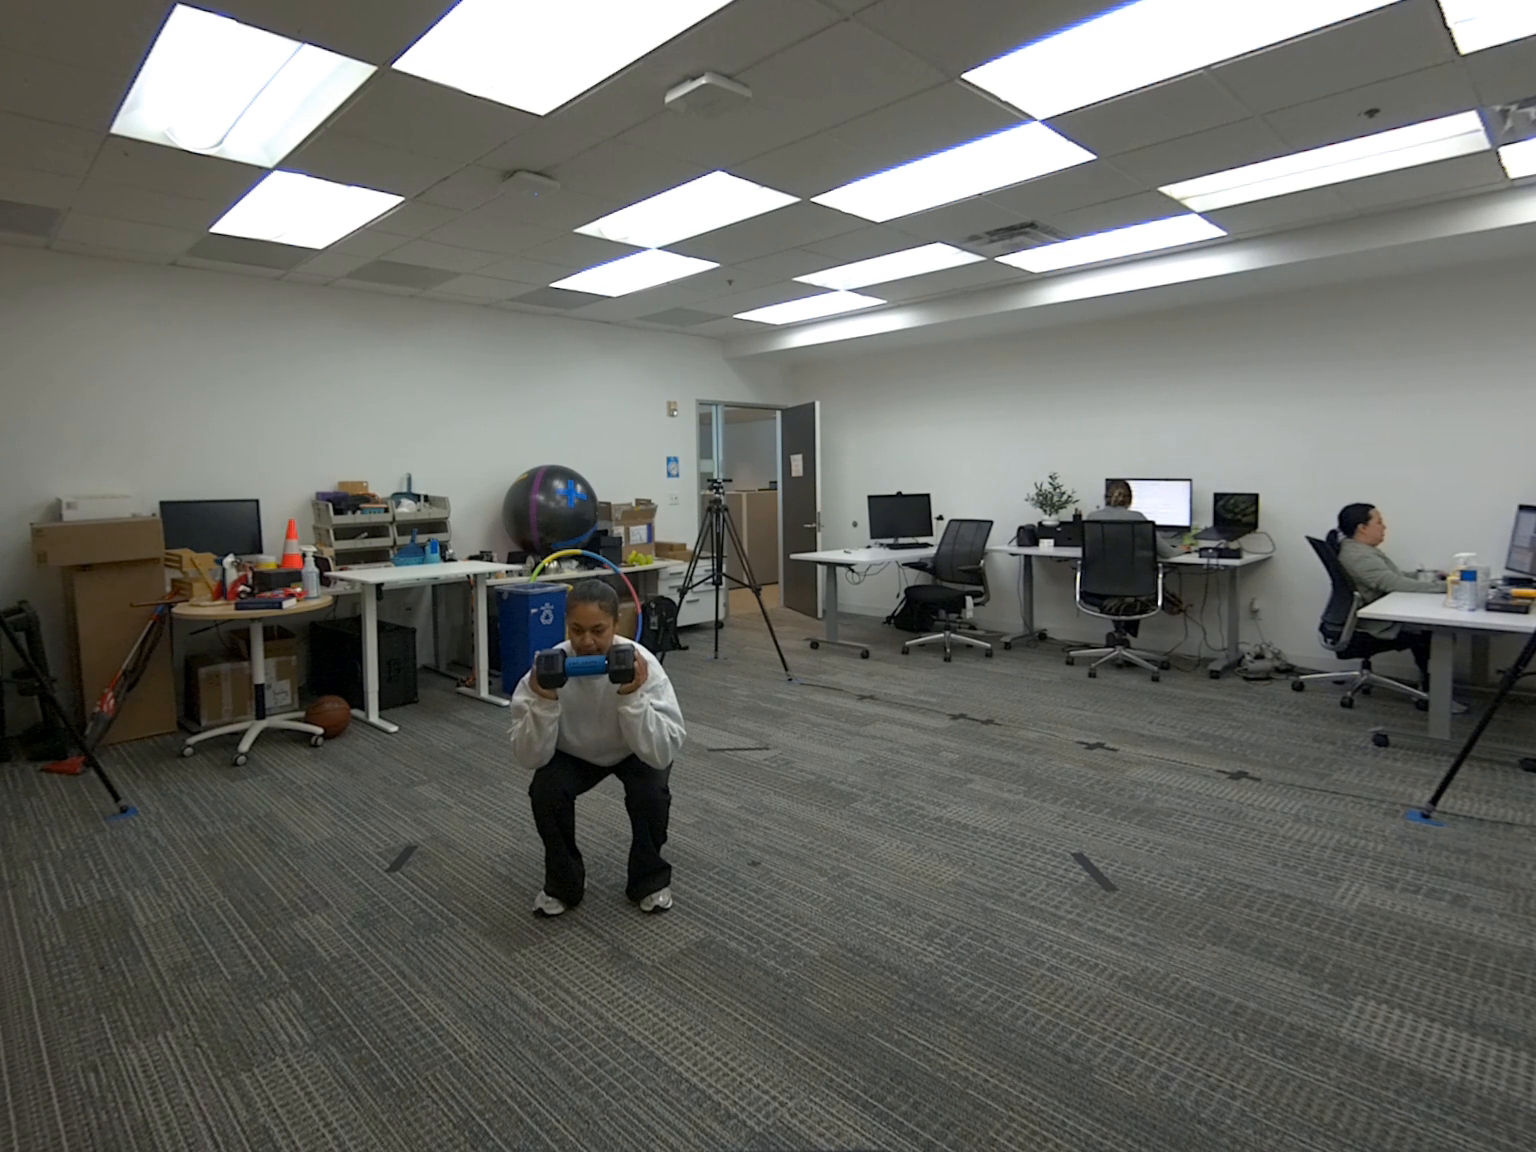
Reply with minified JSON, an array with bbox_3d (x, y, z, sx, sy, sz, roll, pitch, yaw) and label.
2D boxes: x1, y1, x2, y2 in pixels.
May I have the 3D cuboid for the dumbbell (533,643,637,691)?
[{"bbox_3d":[-0.549,0.254,2.571,0.293,0.126,0.106,-2,-27,0],"label":"dumbbell"}]
